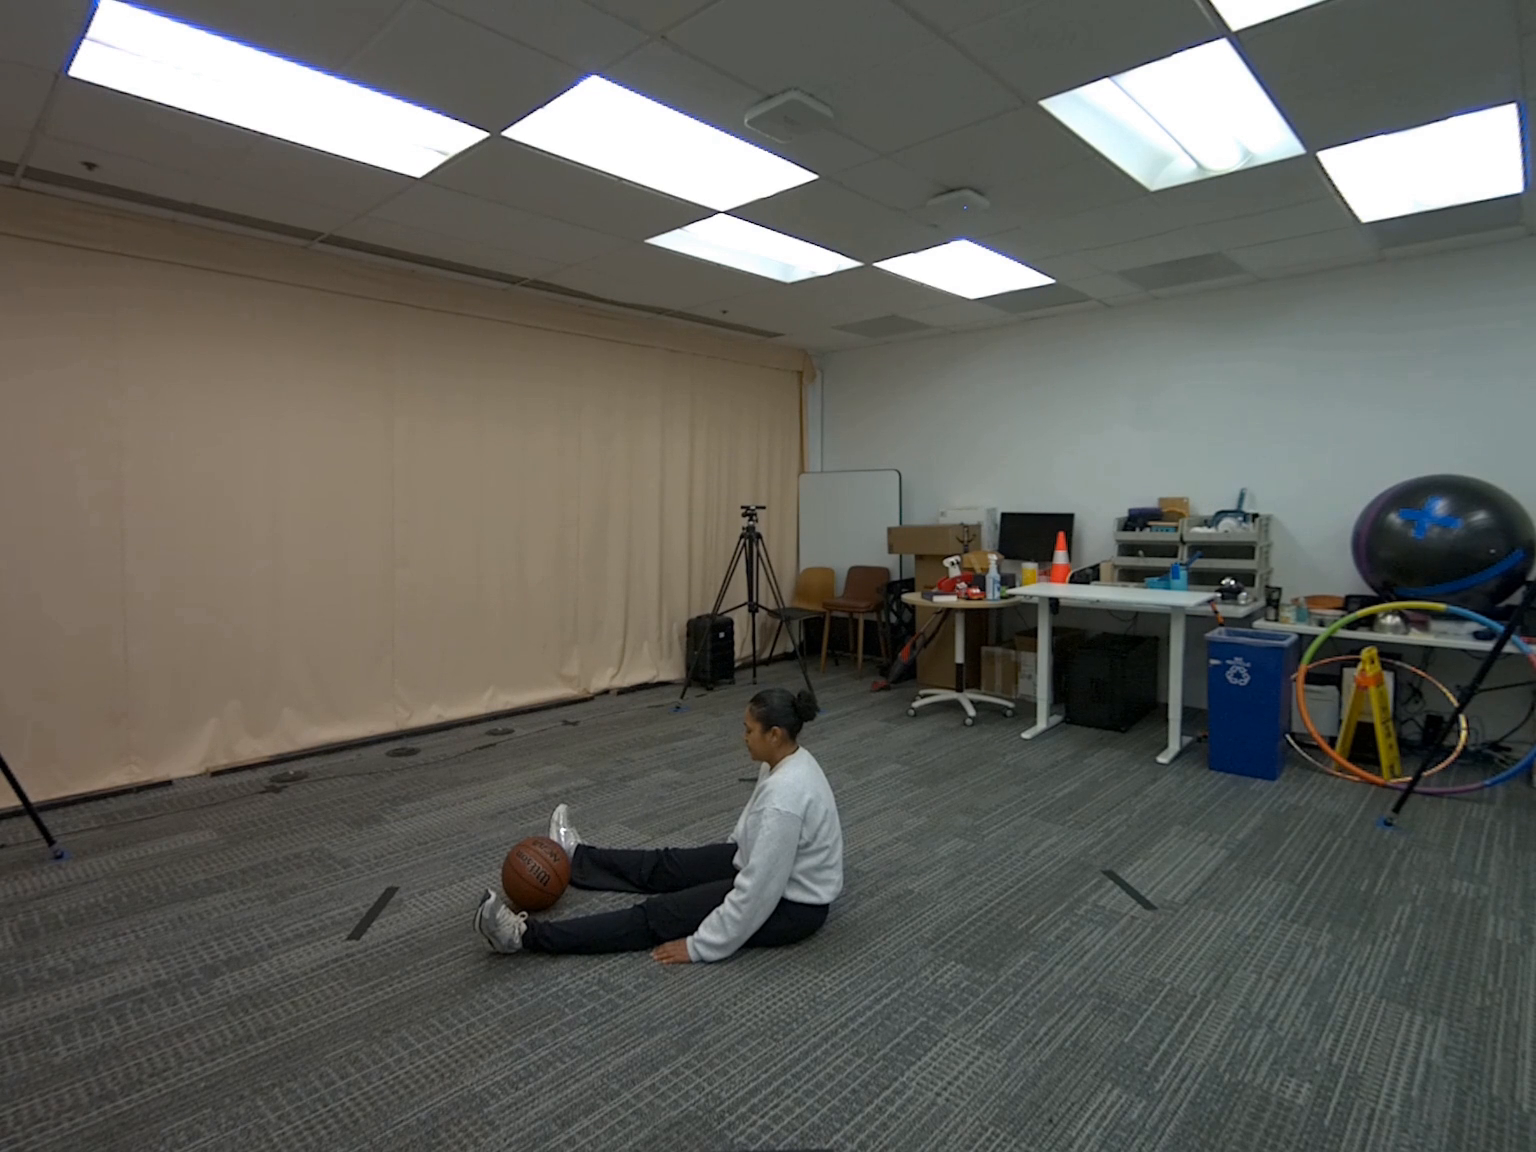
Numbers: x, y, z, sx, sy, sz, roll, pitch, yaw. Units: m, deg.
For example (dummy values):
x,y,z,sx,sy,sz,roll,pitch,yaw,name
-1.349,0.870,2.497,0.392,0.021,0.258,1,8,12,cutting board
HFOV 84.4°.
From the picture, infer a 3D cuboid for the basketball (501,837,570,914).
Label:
x,y,z,sx,sy,sz,roll,pitch,yaw,name
-0.811,1.042,2.927,0.236,0.235,0.237,0,4,-2,basketball
